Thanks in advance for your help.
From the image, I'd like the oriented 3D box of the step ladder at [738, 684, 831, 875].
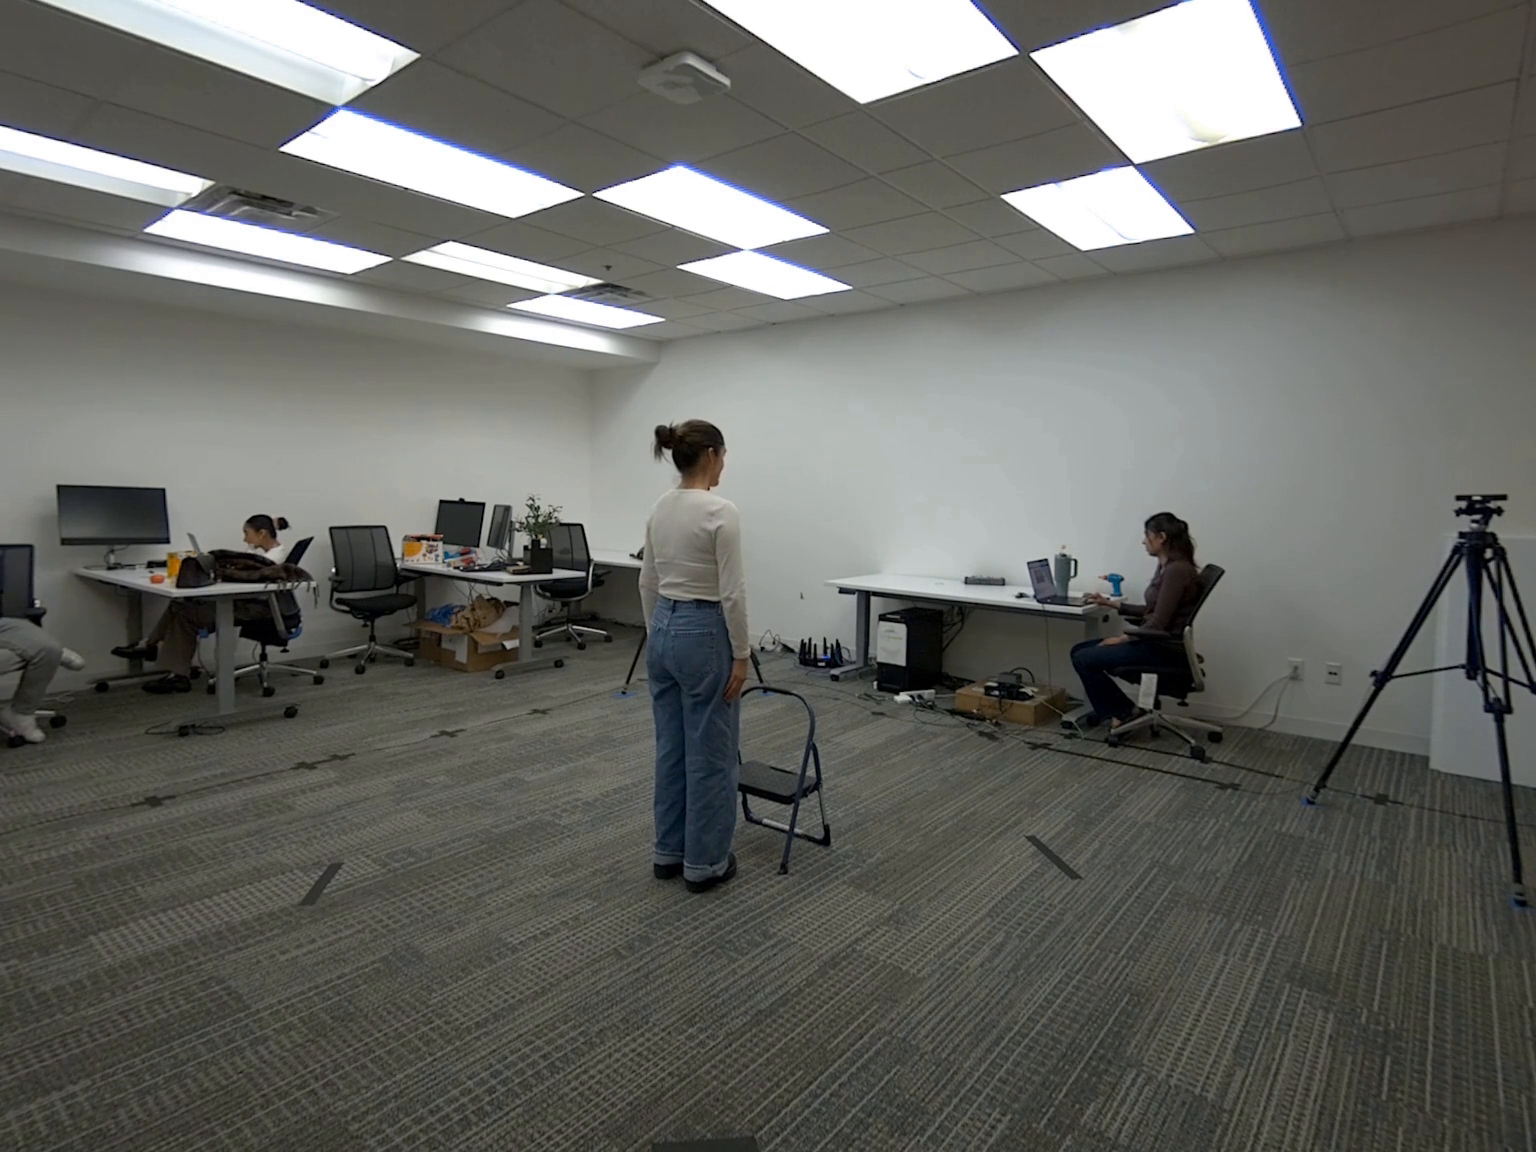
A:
[{"bbox_3d":[-0.017,0.742,3.314,0.445,0.604,0.339,4,5,37],"label":"step ladder"}]
